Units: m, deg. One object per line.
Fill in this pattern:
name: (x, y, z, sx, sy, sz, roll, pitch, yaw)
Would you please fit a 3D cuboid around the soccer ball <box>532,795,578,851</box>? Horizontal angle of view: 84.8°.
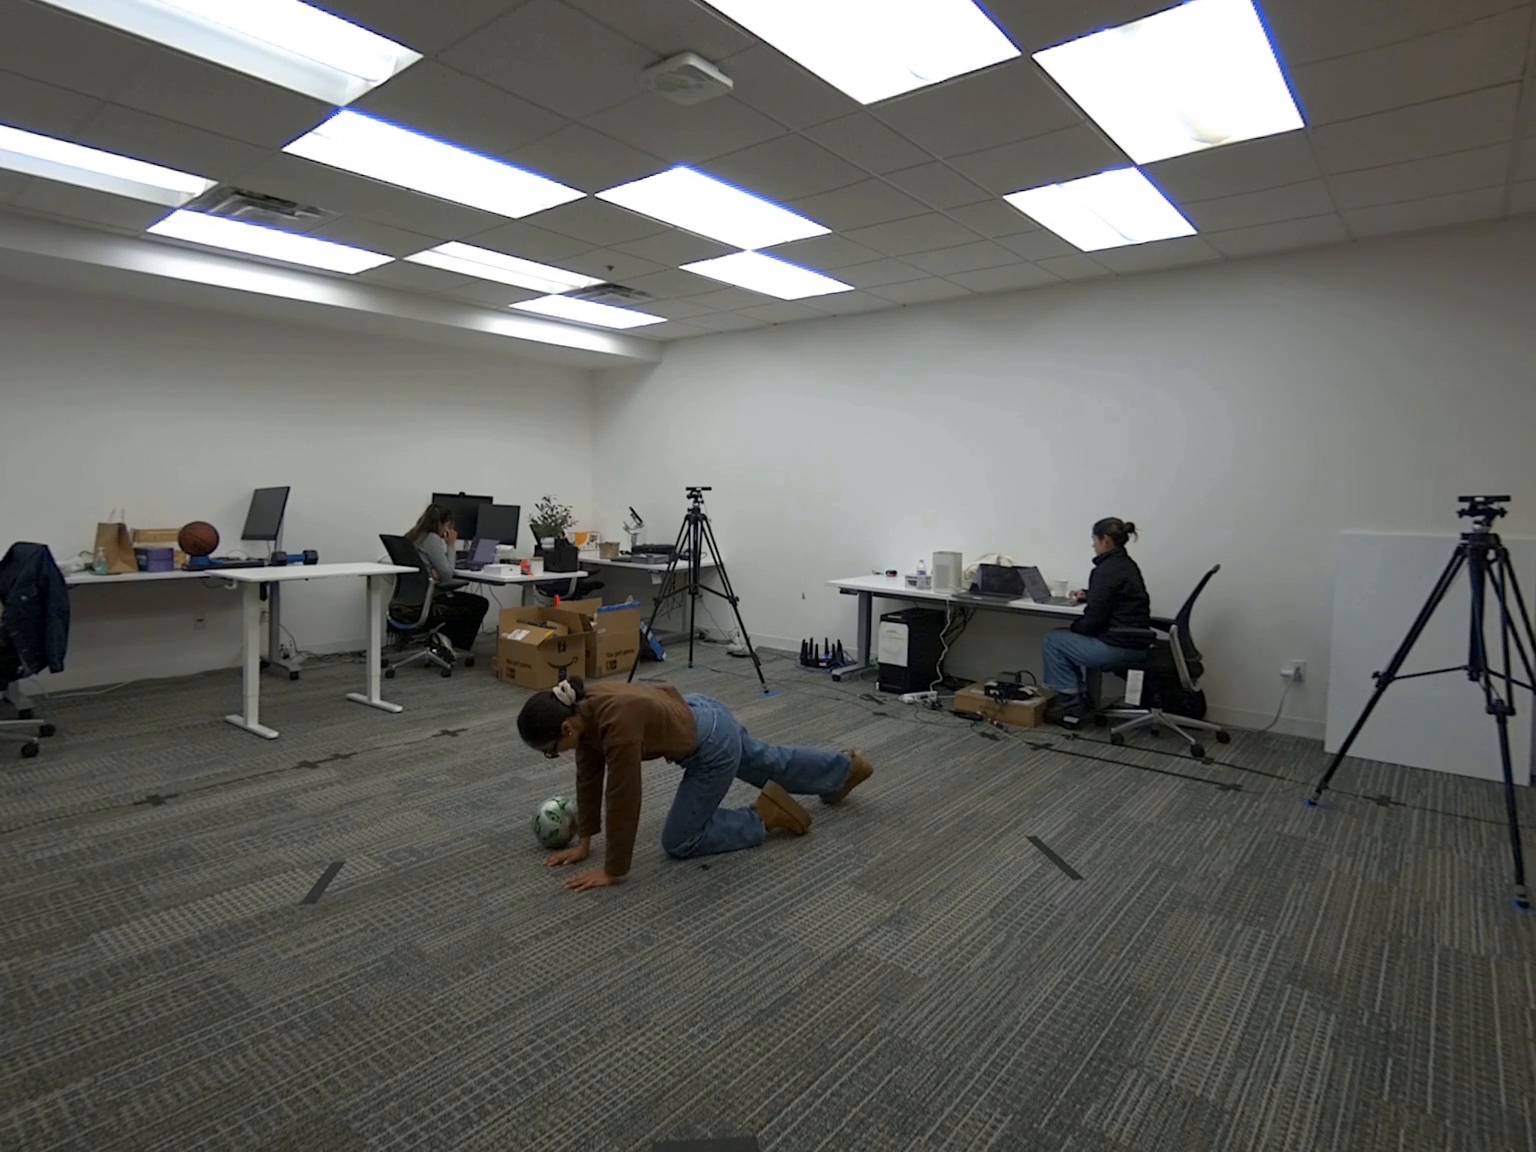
soccer ball: (-0.831, 0.946, 3.296, 0.187, 0.187, 0.188, 1, 4, -2)
